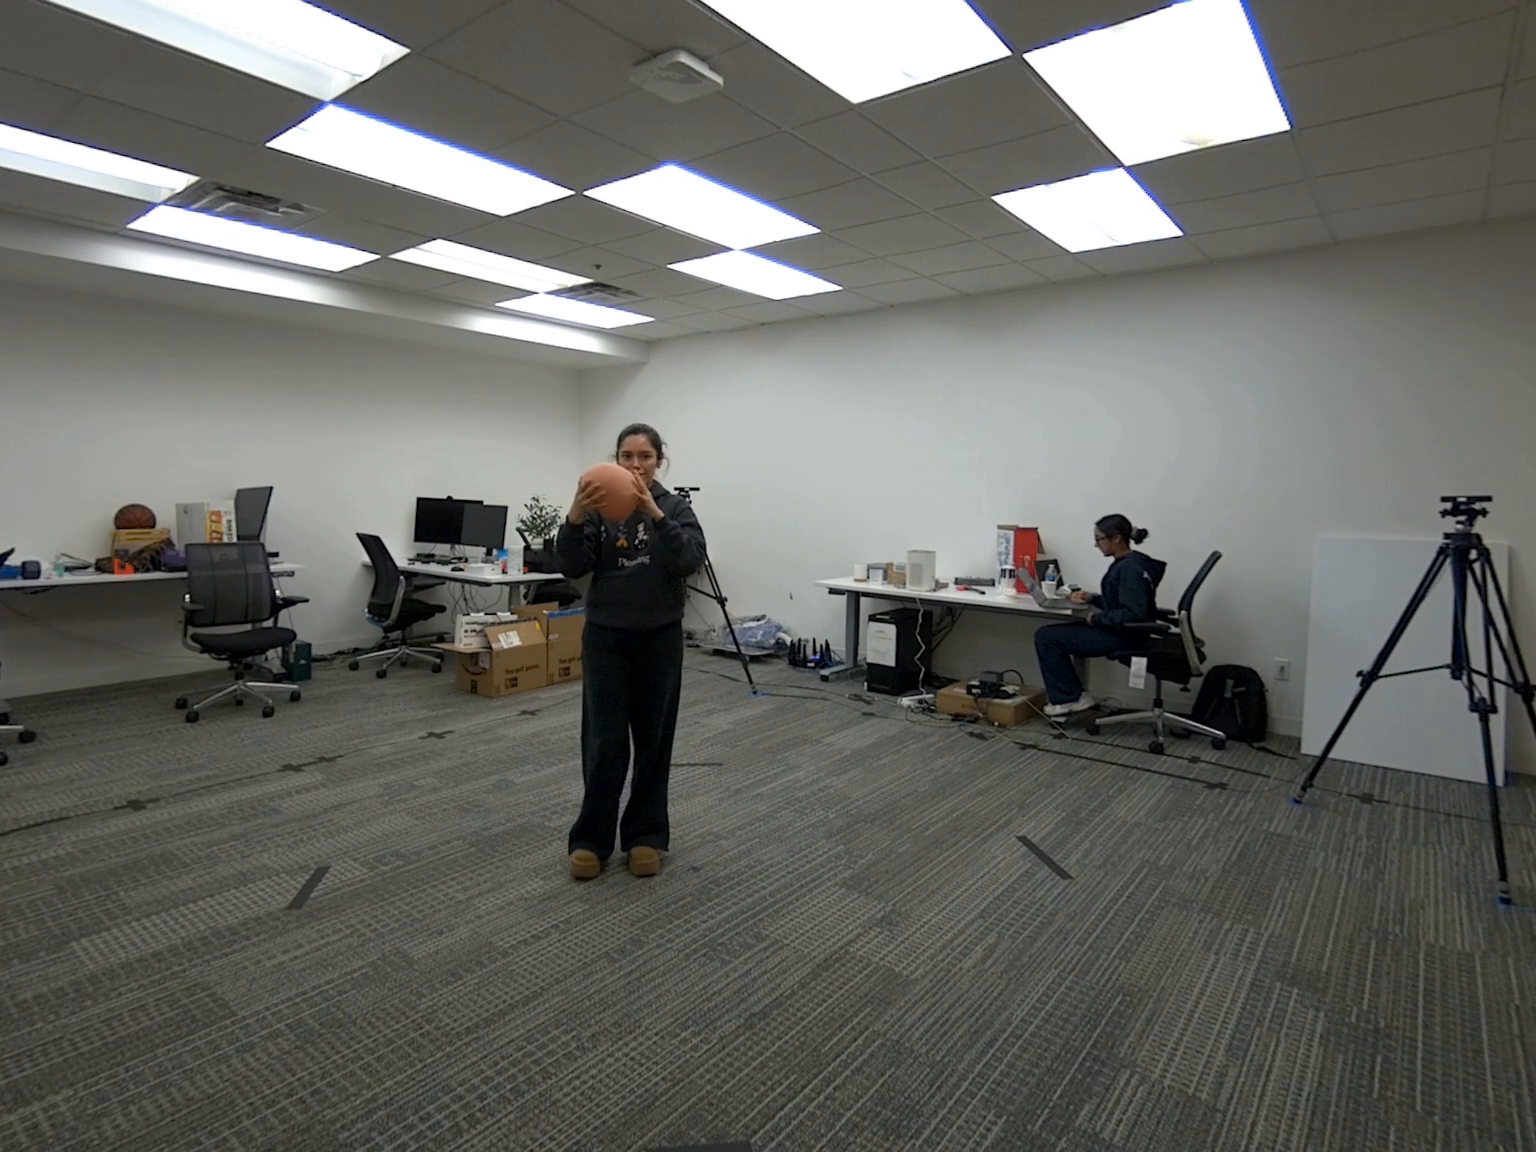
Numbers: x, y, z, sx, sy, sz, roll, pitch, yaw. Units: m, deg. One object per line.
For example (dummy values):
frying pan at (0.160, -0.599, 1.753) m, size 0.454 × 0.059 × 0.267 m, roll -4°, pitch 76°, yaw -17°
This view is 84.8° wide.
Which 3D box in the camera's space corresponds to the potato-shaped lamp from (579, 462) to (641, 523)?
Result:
potato-shaped lamp at (-0.539, -0.292, 2.838) m, size 0.192 × 0.165 × 0.177 m, roll 39°, pitch 0°, yaw -25°
